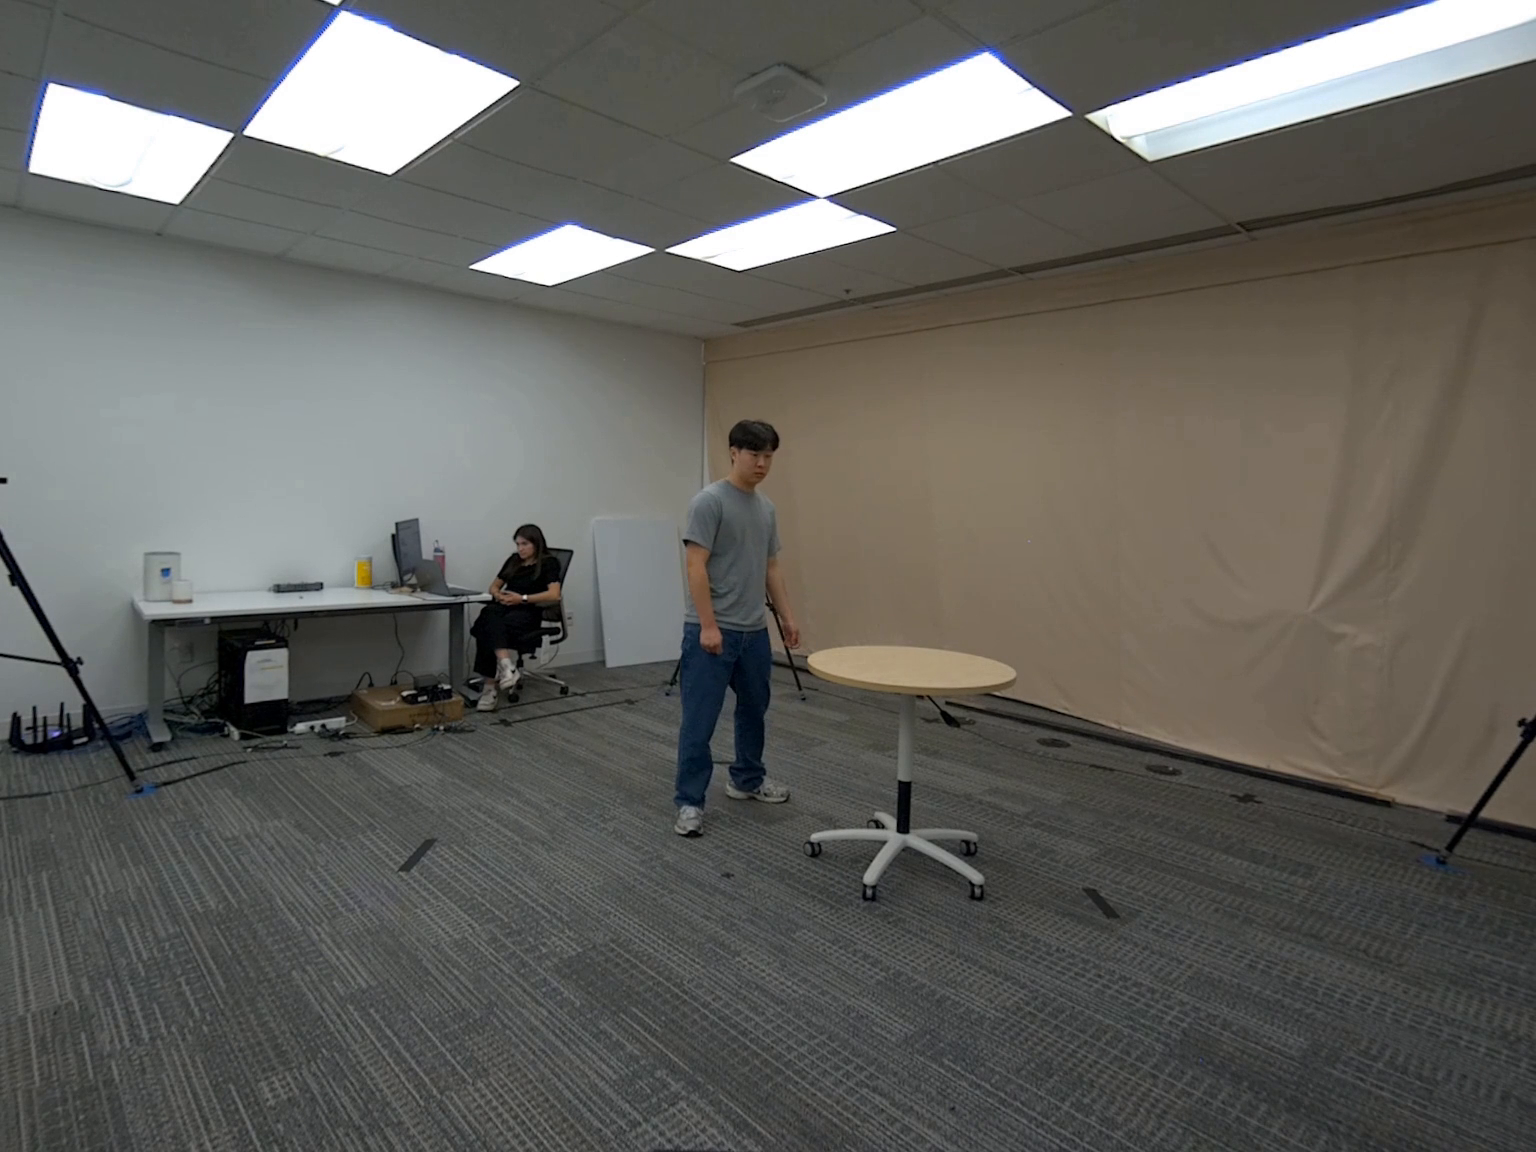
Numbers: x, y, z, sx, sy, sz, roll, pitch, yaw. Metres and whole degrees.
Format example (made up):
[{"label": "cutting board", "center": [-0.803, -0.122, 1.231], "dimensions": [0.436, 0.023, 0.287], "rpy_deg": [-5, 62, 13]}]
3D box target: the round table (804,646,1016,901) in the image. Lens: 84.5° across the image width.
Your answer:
[{"label": "round table", "center": [0.509, 0.726, 3.183], "dimensions": [0.763, 0.792, 0.766], "rpy_deg": [2, 4, -1]}]
